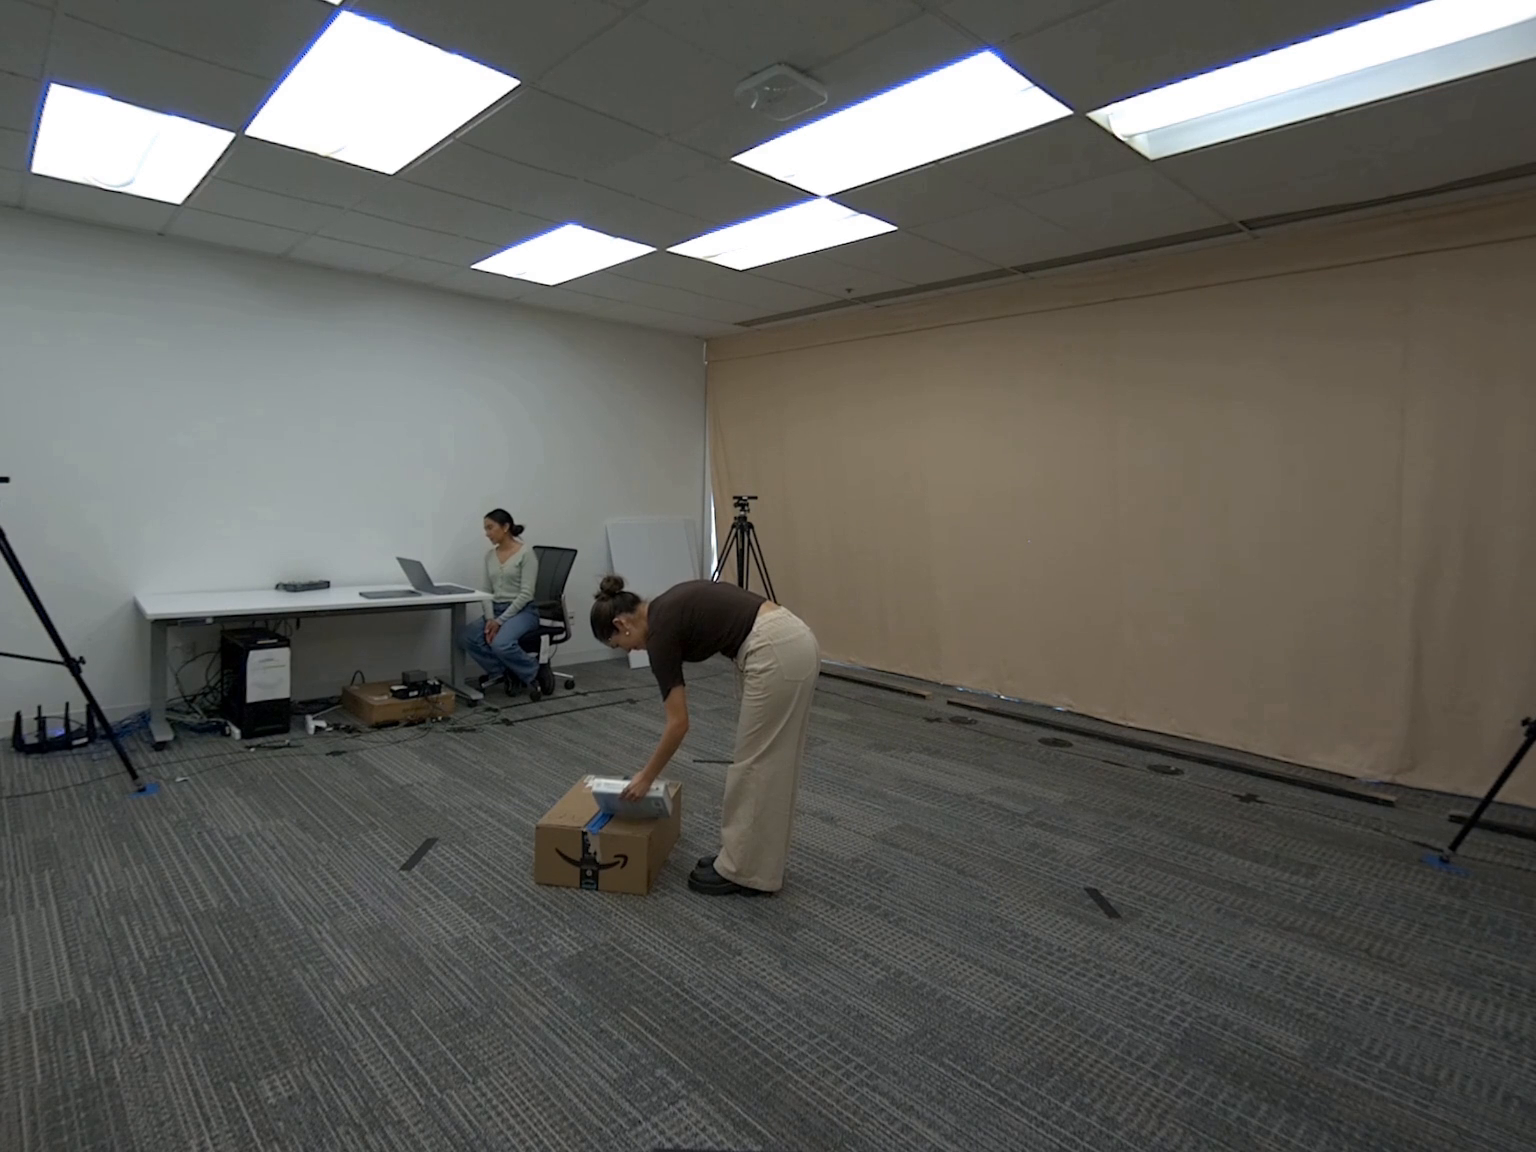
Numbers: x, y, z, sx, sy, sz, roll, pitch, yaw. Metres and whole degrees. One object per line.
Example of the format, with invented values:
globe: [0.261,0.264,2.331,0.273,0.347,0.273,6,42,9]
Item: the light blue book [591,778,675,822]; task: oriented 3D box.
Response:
light blue book: [-0.486,0.806,3.049,0.263,0.060,0.187,2,-39,8]
